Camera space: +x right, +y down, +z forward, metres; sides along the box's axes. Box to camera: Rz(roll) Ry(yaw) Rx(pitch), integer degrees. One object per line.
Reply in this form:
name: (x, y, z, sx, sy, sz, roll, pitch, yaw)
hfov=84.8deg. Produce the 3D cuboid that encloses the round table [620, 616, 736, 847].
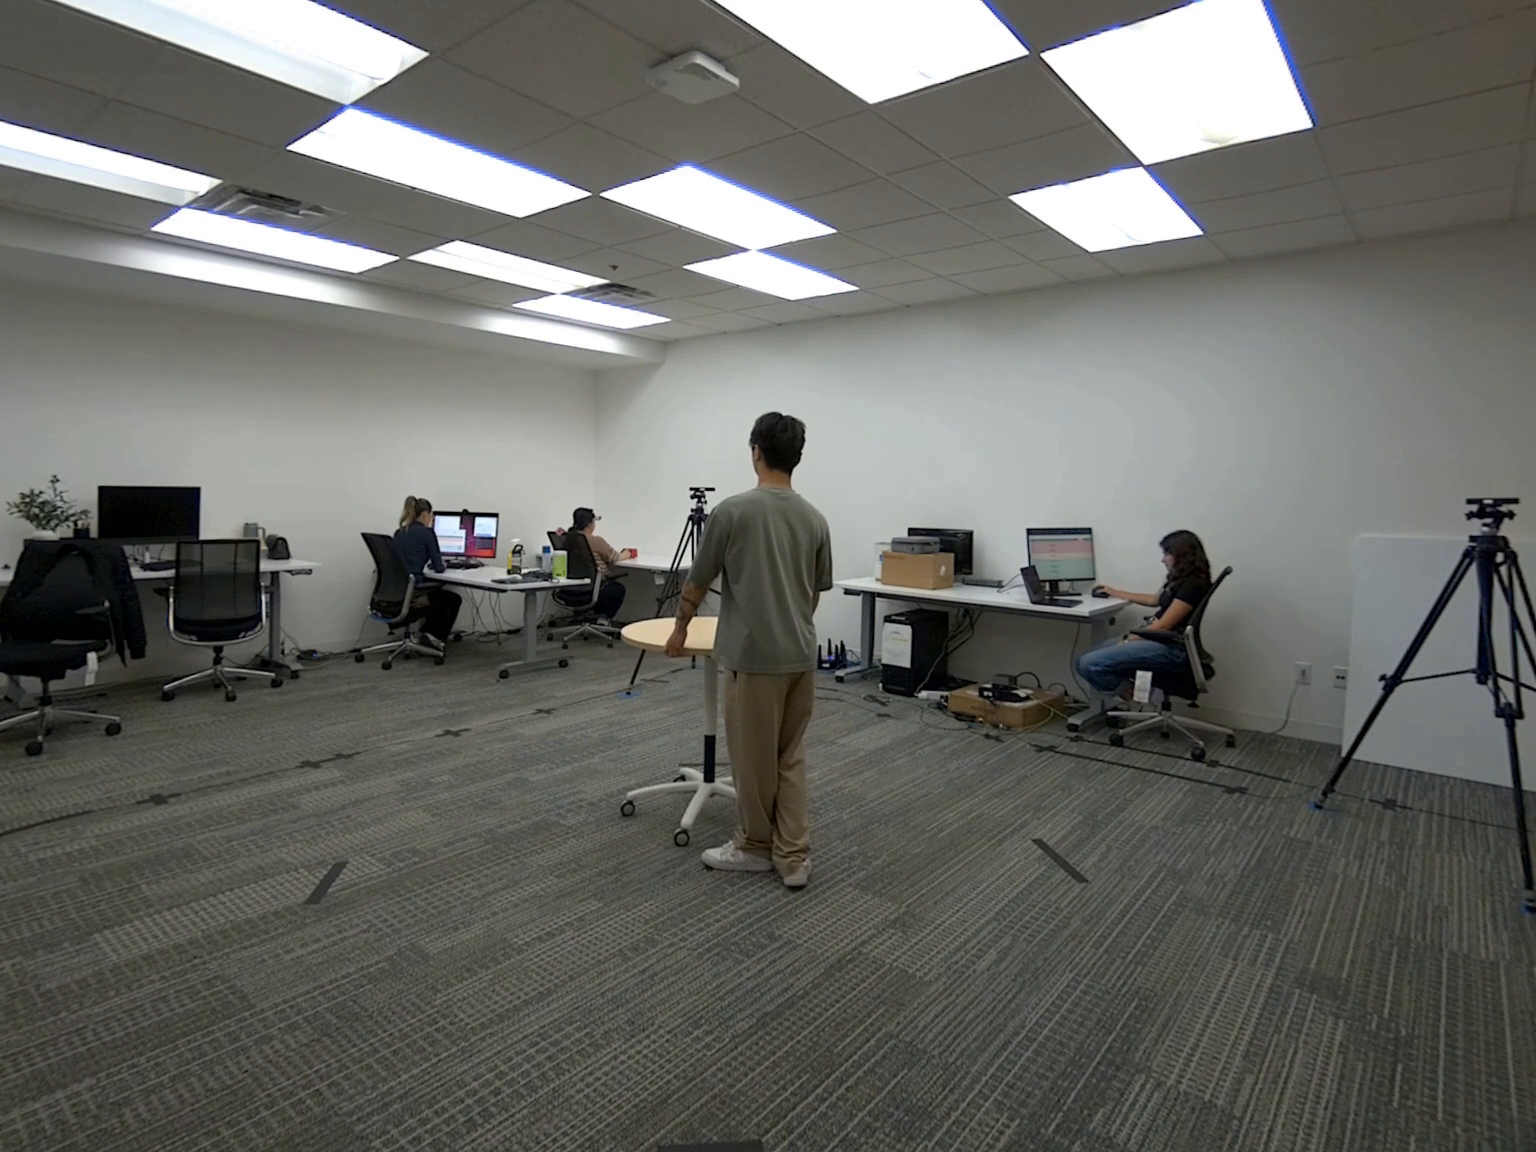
round table: (-0.264, 0.619, 3.629, 0.784, 0.783, 0.789, 1, 5, -2)
